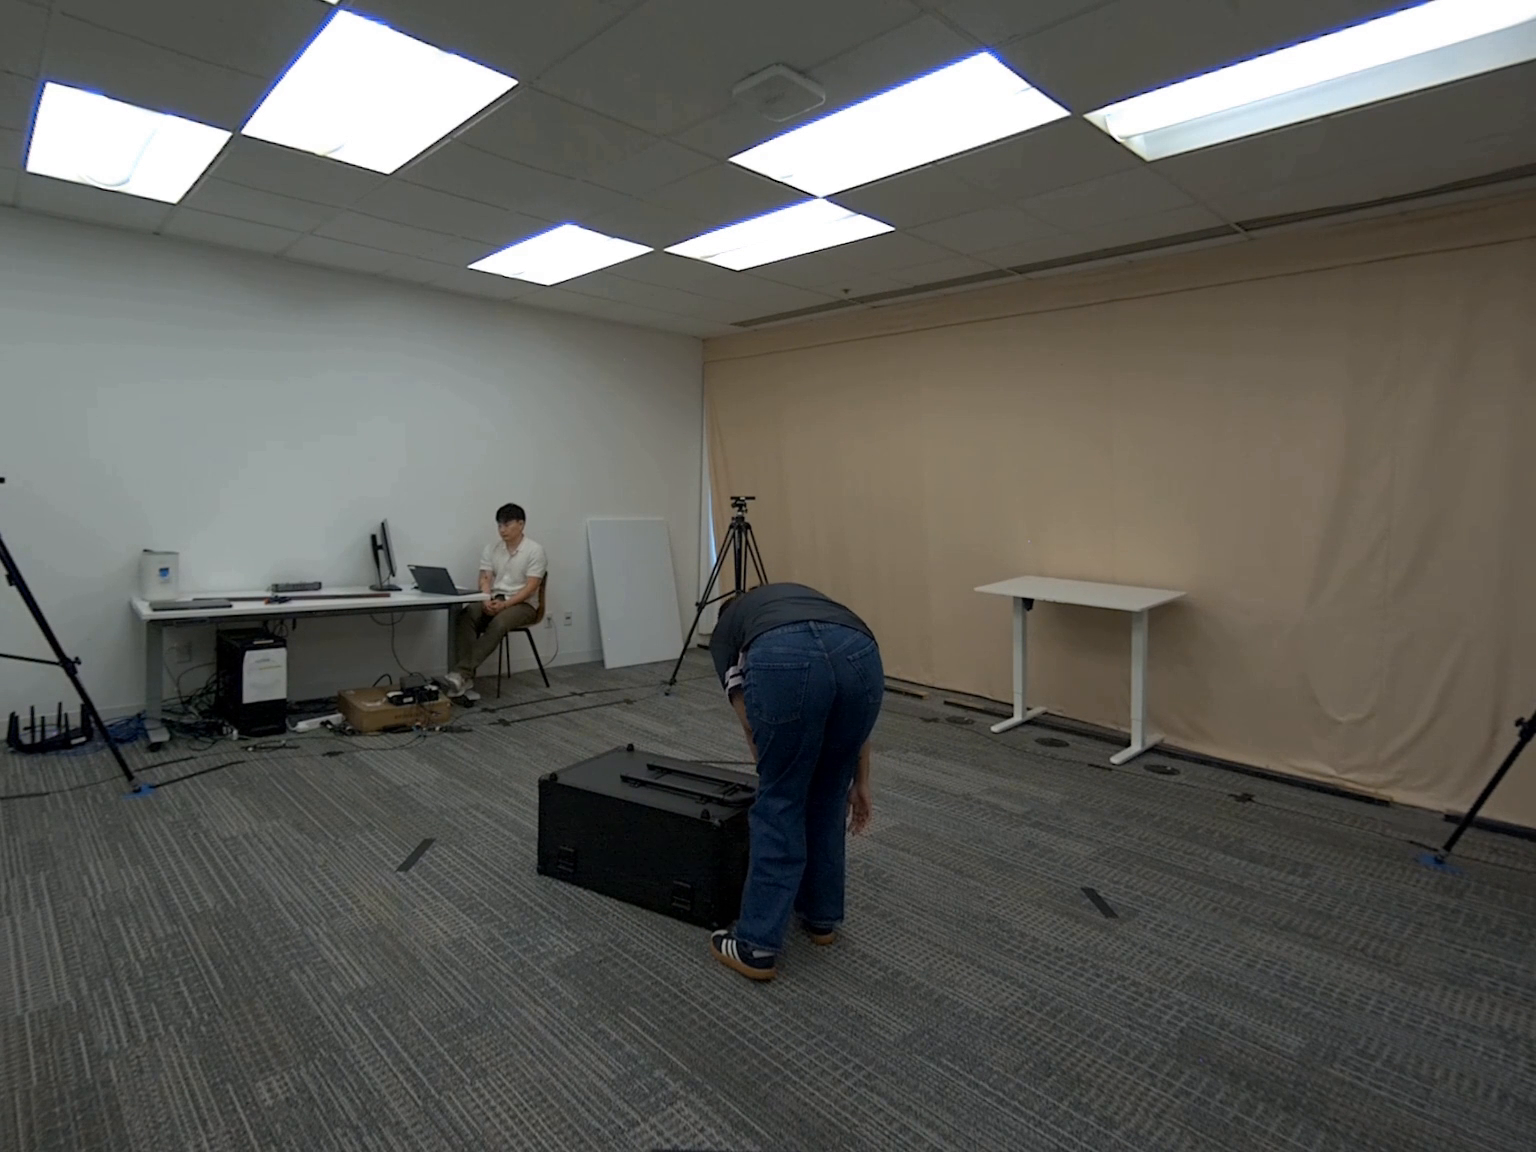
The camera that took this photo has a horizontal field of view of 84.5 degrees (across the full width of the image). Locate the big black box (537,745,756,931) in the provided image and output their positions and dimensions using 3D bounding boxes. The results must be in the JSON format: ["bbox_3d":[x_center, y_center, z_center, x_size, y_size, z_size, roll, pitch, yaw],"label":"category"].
[{"bbox_3d":[-0.425,0.913,3.087,0.887,0.384,0.514,4,6,29],"label":"big black box"}]
